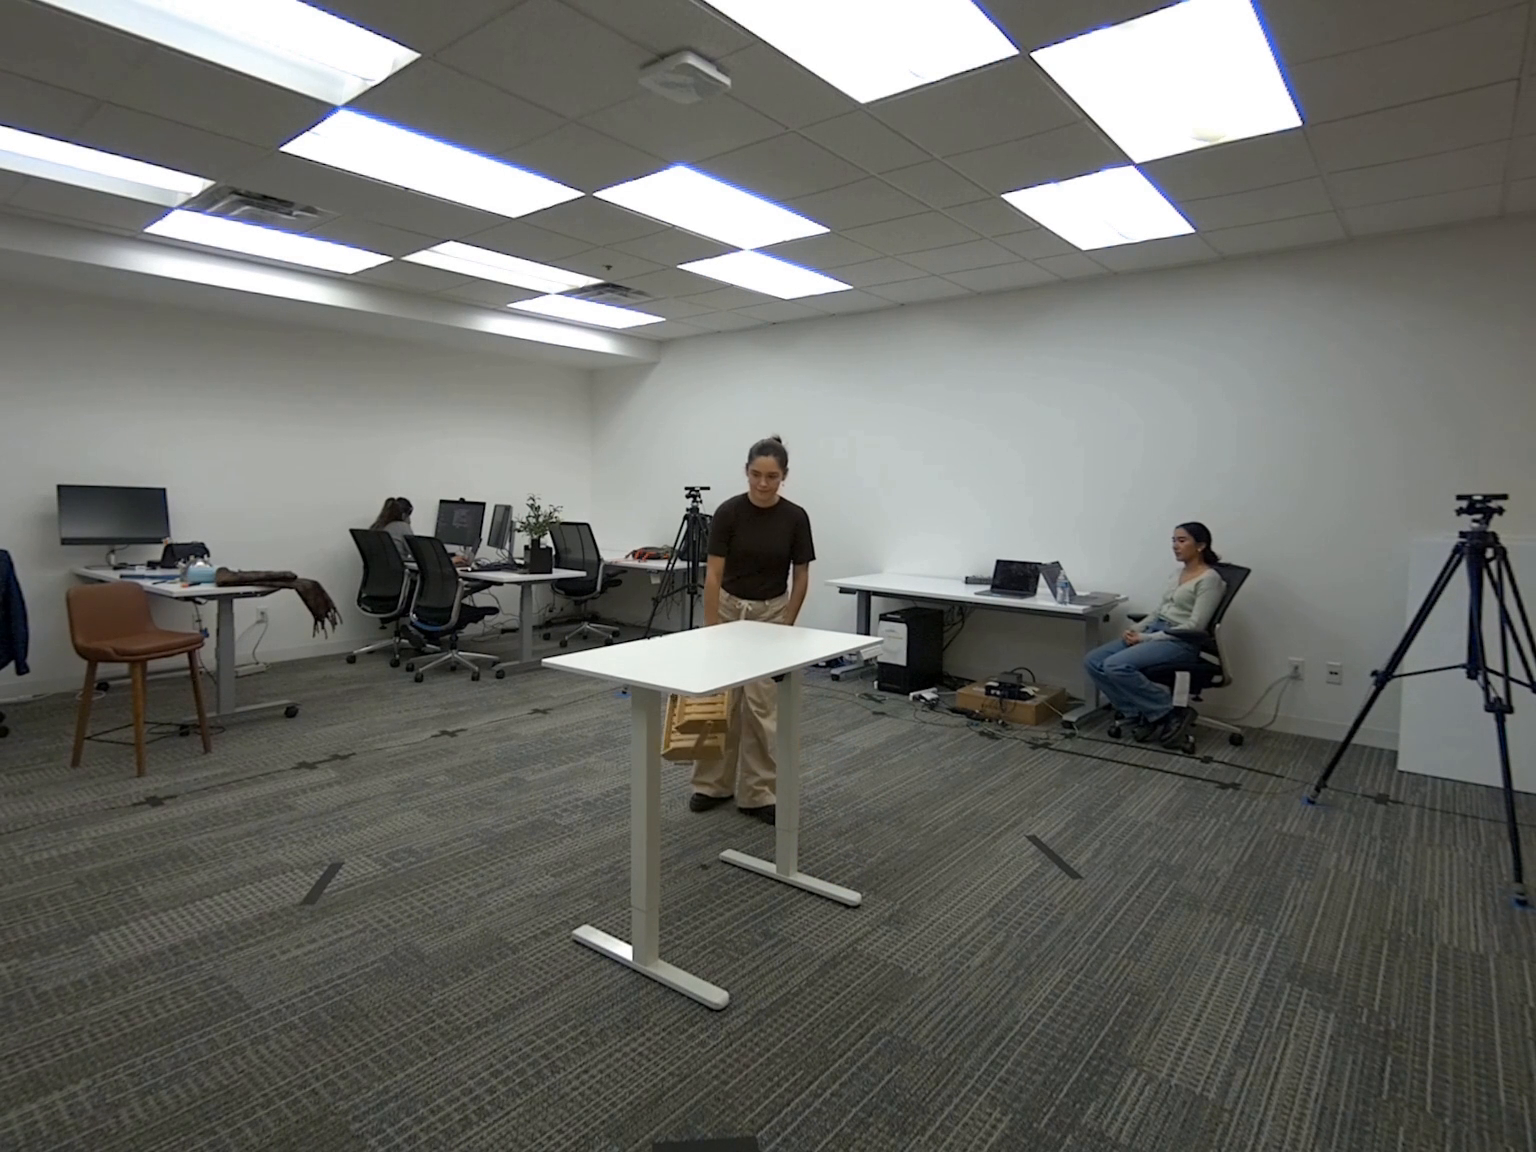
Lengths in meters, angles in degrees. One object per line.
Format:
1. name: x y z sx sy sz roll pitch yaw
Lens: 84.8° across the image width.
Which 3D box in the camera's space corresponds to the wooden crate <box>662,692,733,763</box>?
1. wooden crate: -0.298 0.538 3.446 0.304 0.264 0.333 -6 41 7
